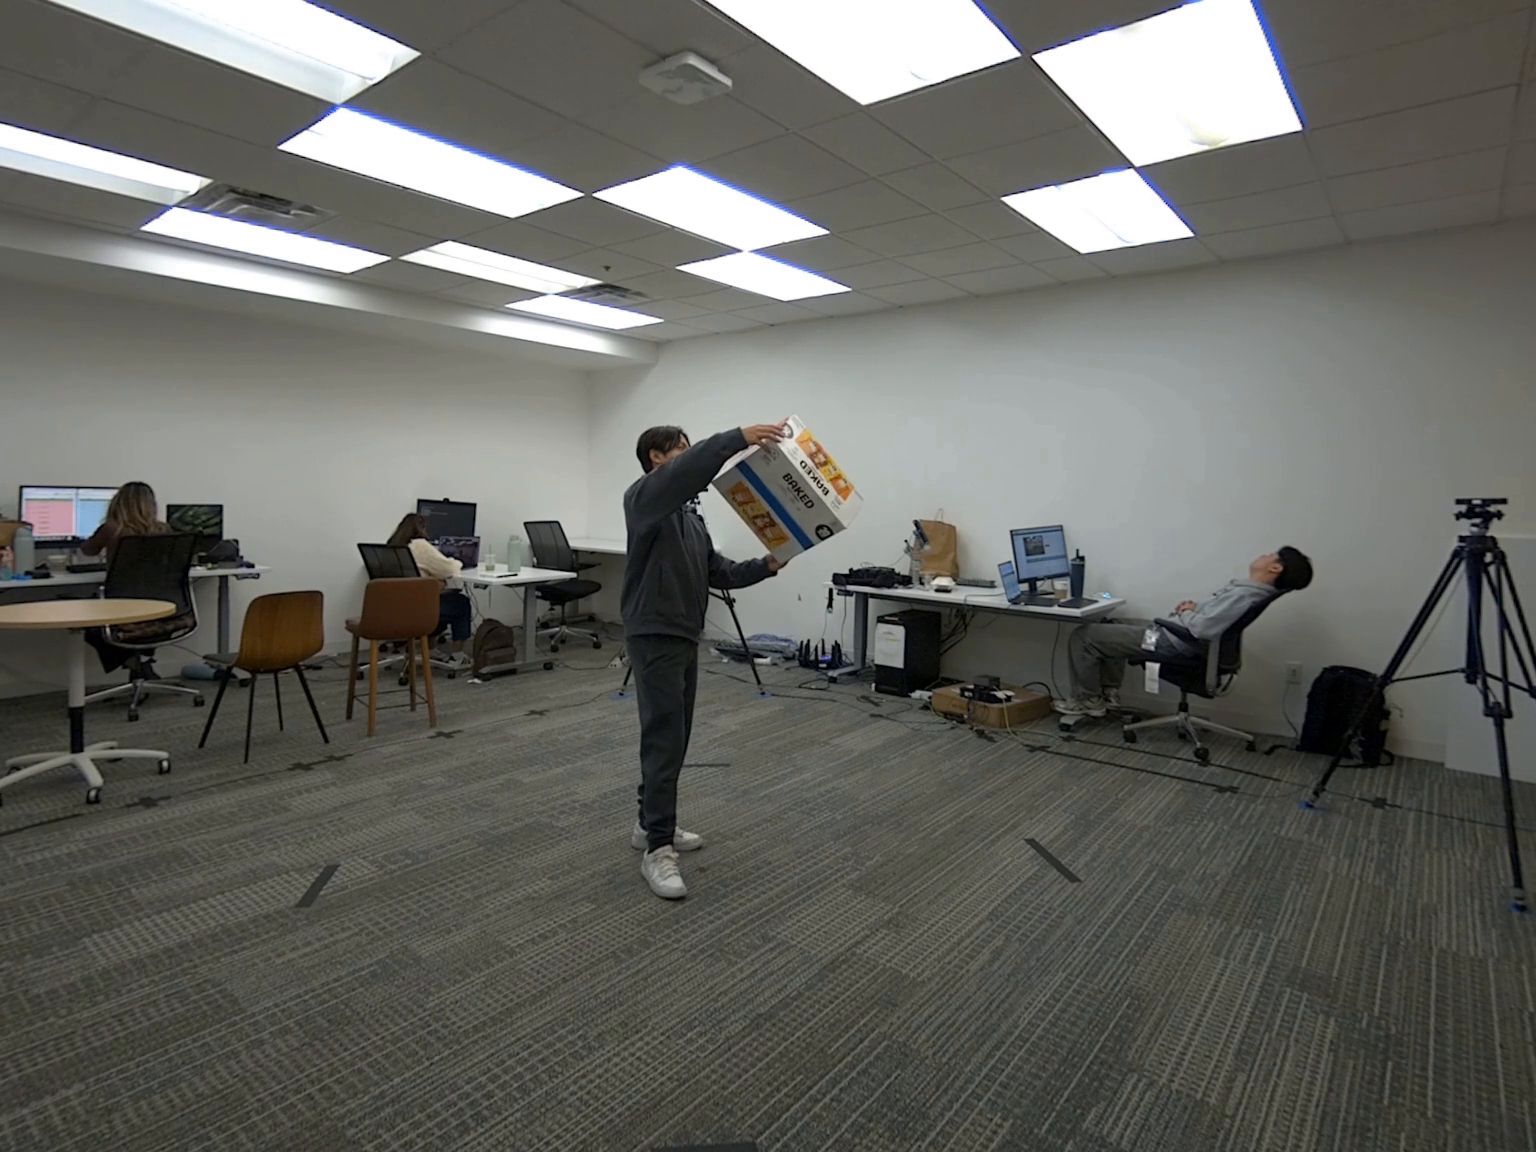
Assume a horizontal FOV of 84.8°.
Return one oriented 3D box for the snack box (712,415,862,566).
[{"bbox_3d":[0.064,-0.307,3.046,0.344,0.400,0.206,-30,14,44],"label":"snack box"}]
